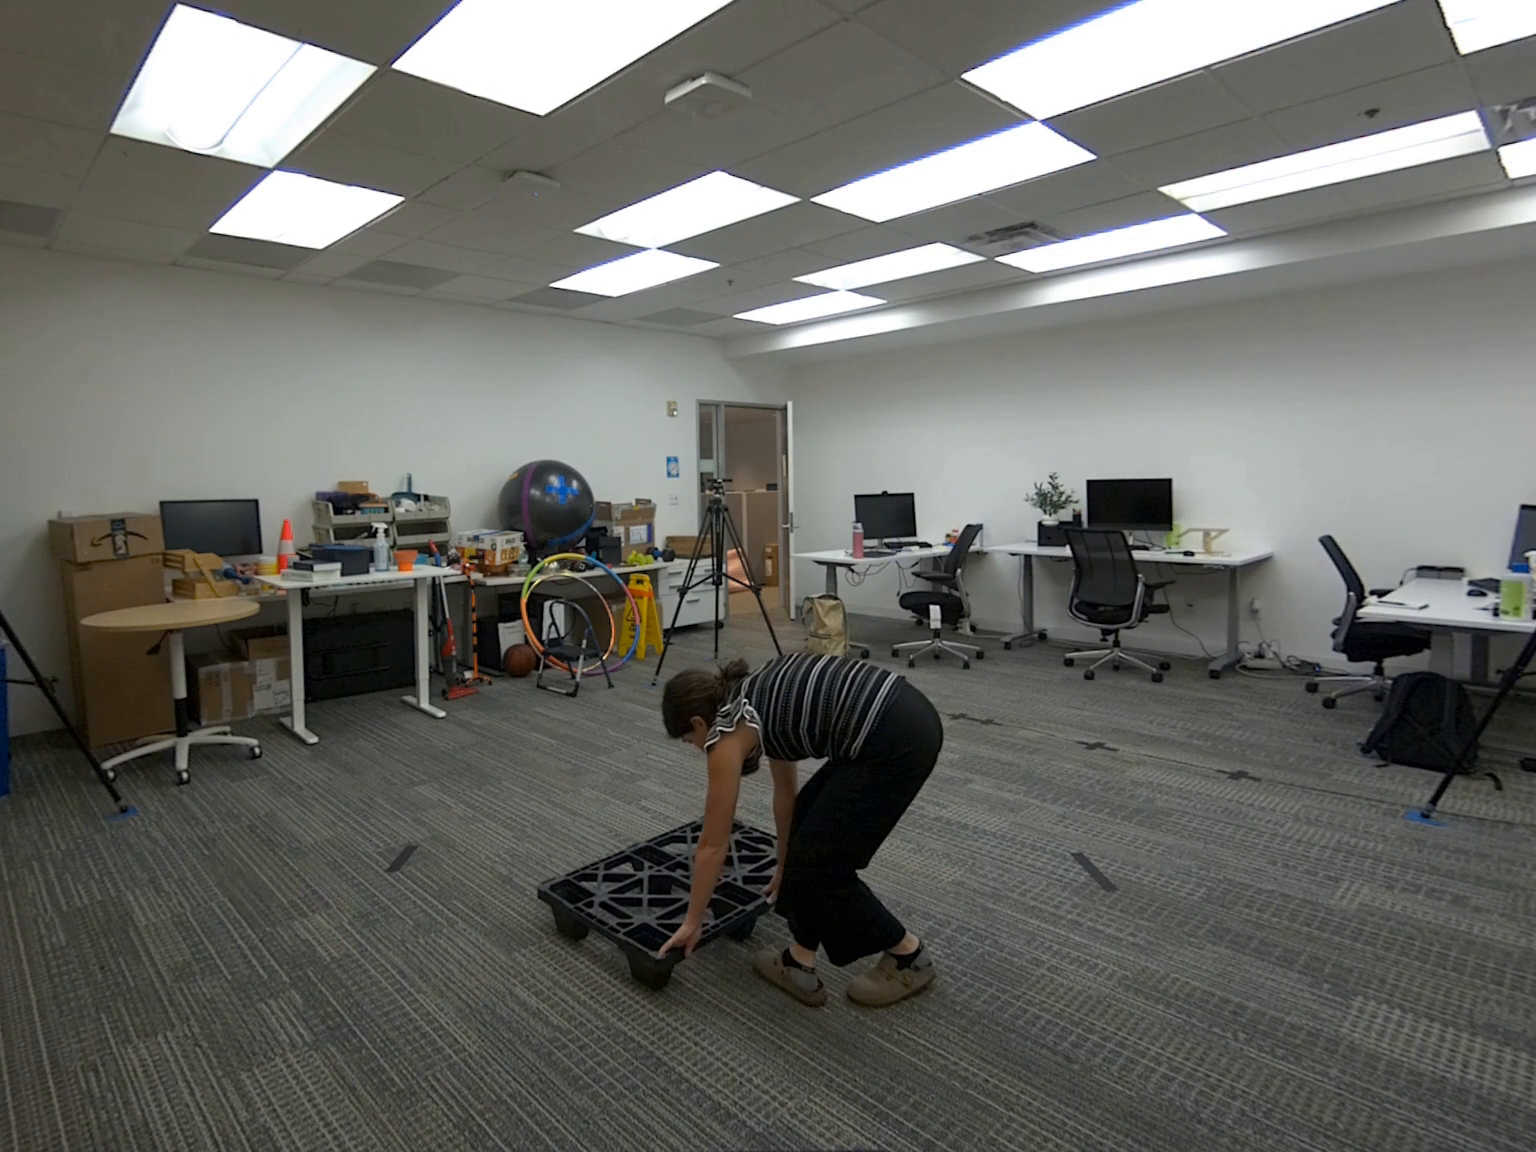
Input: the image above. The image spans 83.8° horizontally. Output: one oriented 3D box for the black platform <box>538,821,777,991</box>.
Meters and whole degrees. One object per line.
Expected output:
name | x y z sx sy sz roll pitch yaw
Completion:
black platform | -0.247 1.021 2.762 0.624 0.143 0.785 4 8 42
